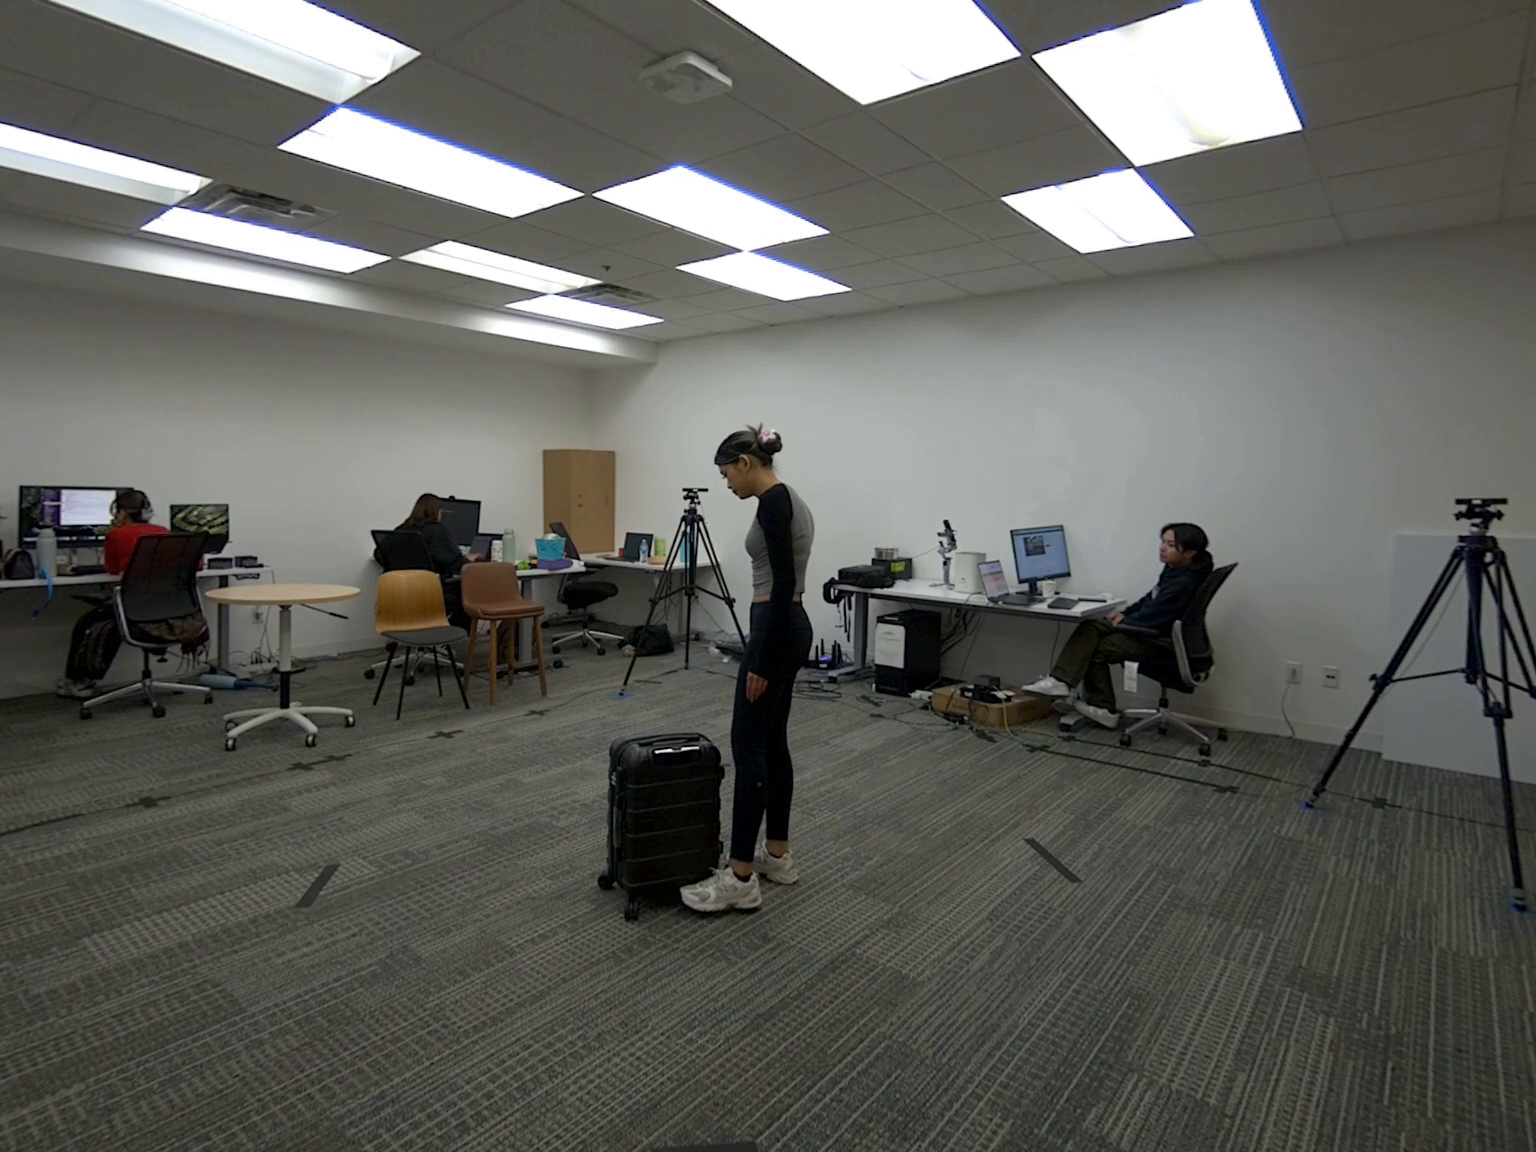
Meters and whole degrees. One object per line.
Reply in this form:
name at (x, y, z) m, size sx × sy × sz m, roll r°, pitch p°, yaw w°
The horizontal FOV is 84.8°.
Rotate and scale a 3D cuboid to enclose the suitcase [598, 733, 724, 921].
suitcase at (-0.373, 0.808, 2.904) m, size 0.366 × 0.548 × 0.255 m, roll 0°, pitch 3°, yaw -25°
